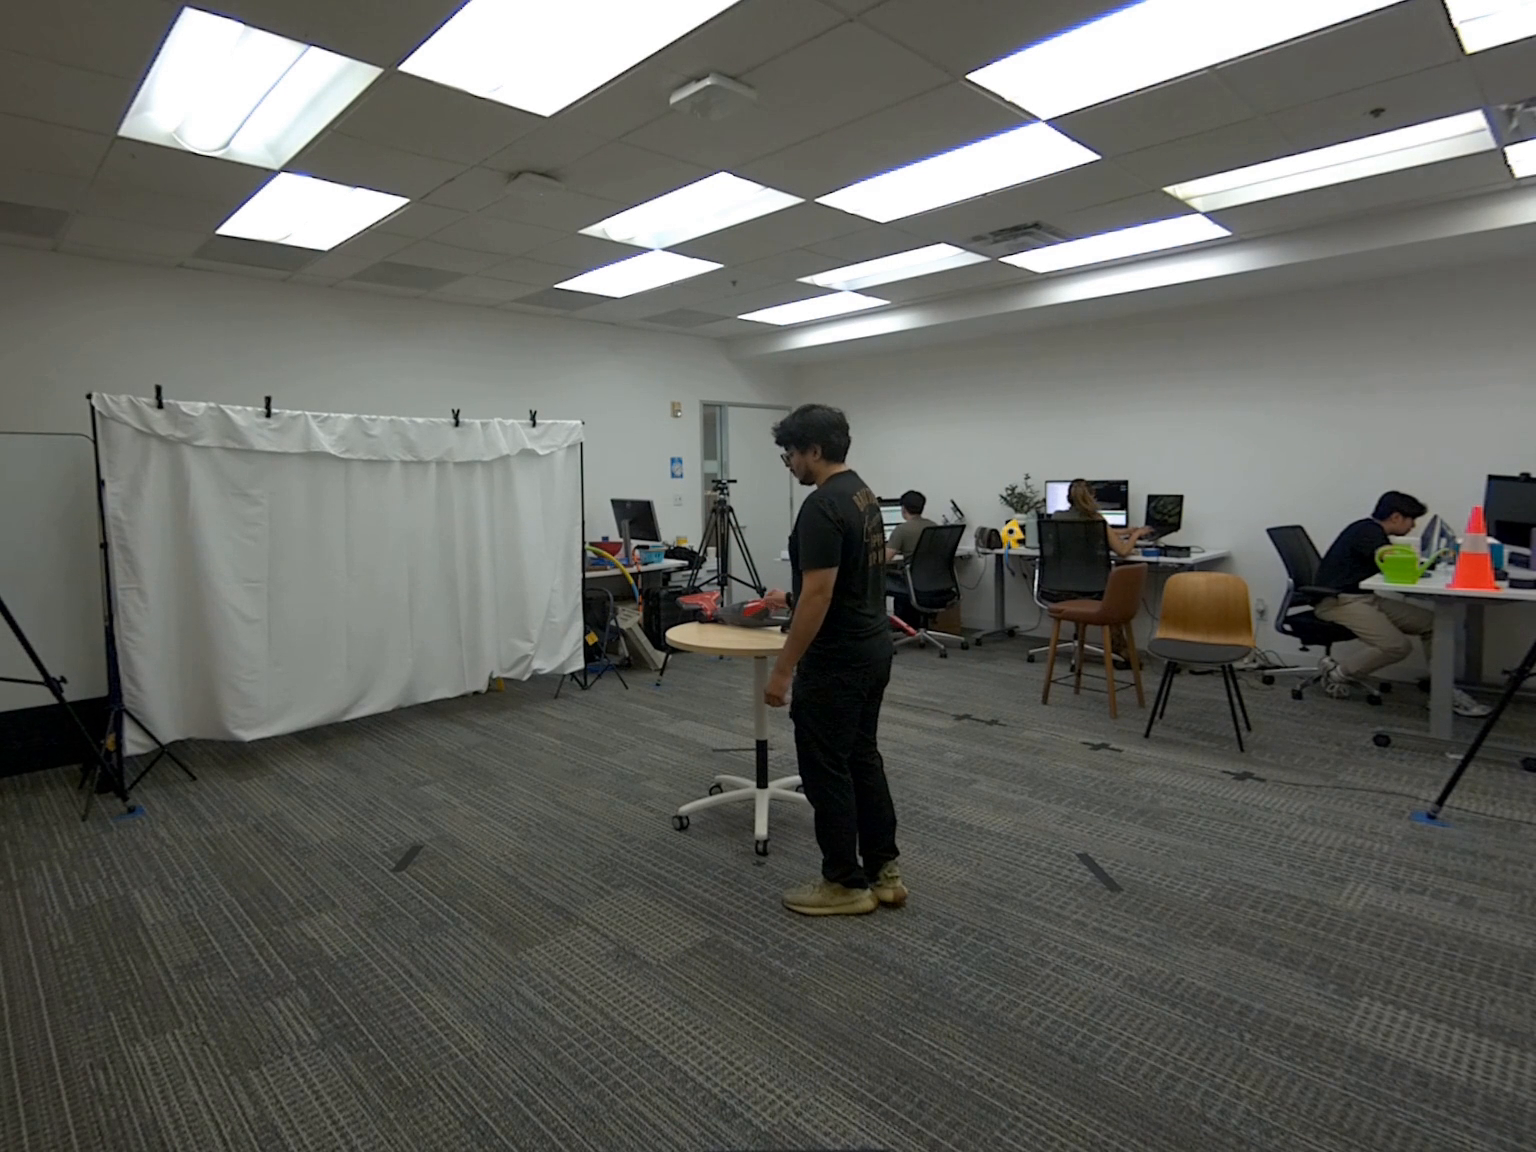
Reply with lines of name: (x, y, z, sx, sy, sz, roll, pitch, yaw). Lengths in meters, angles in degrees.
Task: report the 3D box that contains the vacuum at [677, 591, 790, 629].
vacuum: (0.120, 0.181, 3.400, 1.081, 0.142, 0.247, 4, 15, 44)
